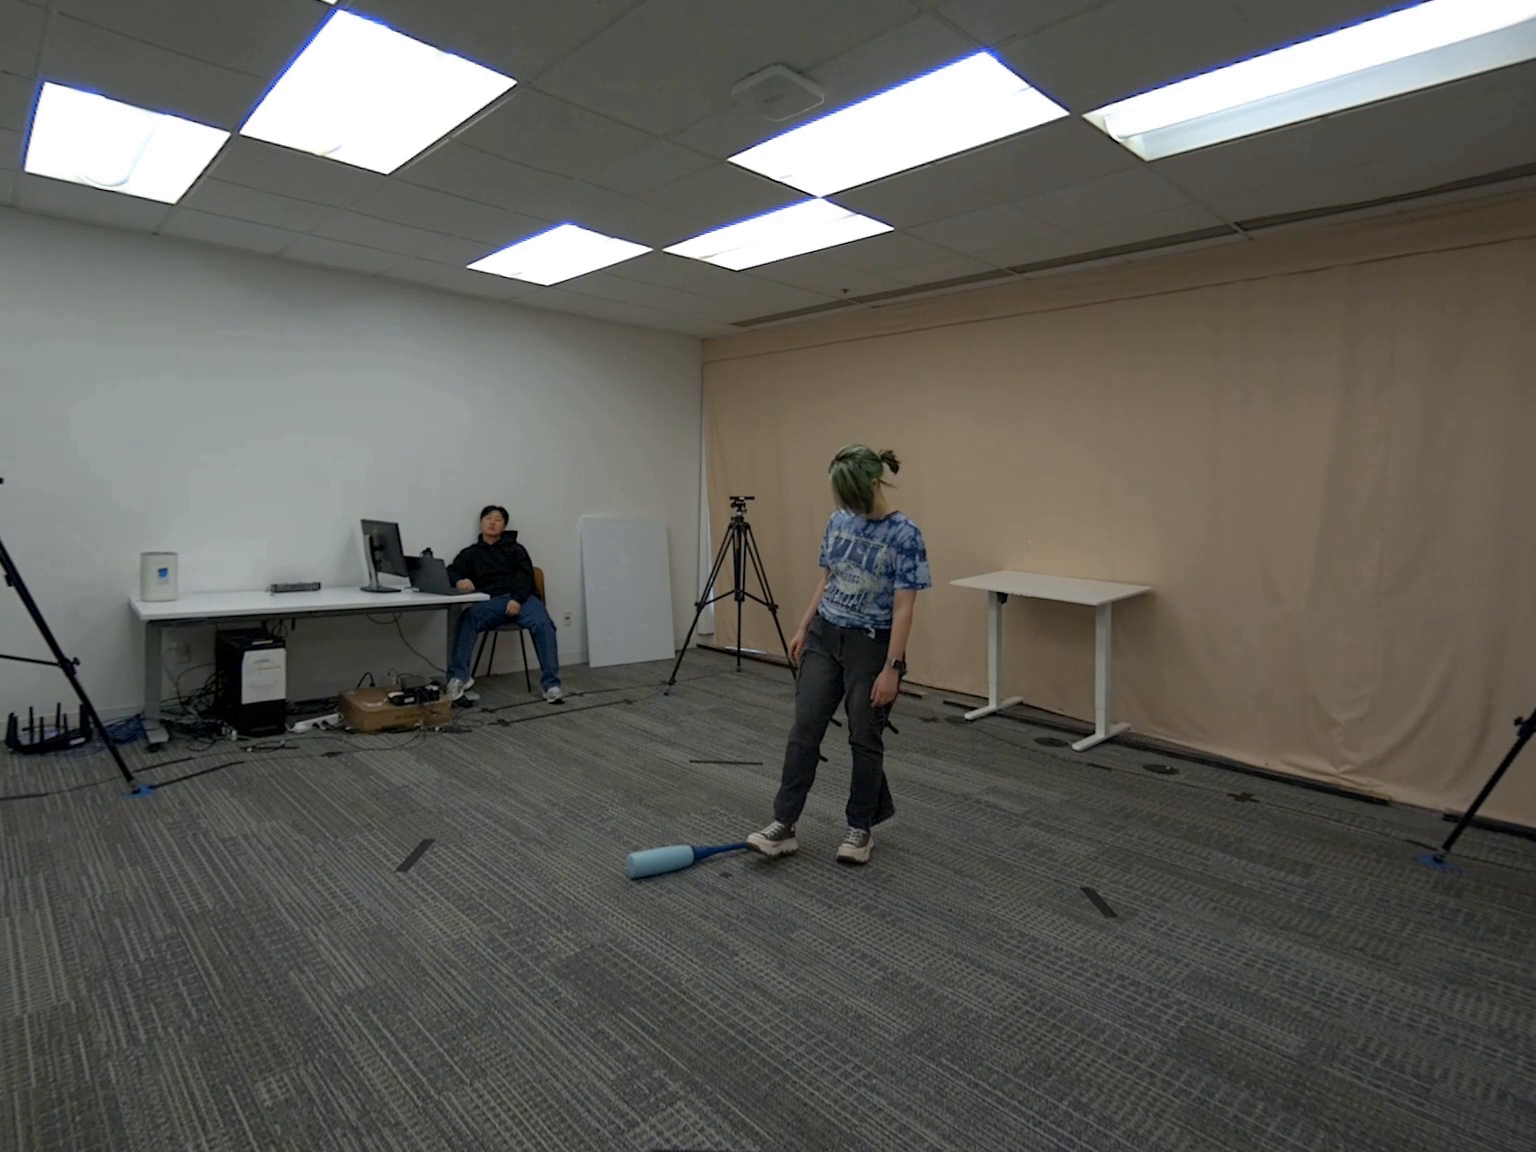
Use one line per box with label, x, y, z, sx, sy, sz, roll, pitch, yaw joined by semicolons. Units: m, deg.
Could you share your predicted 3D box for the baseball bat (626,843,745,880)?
baseball bat;-0.290;1.061;3.191;0.531;0.089;0.091;2;3;-33
